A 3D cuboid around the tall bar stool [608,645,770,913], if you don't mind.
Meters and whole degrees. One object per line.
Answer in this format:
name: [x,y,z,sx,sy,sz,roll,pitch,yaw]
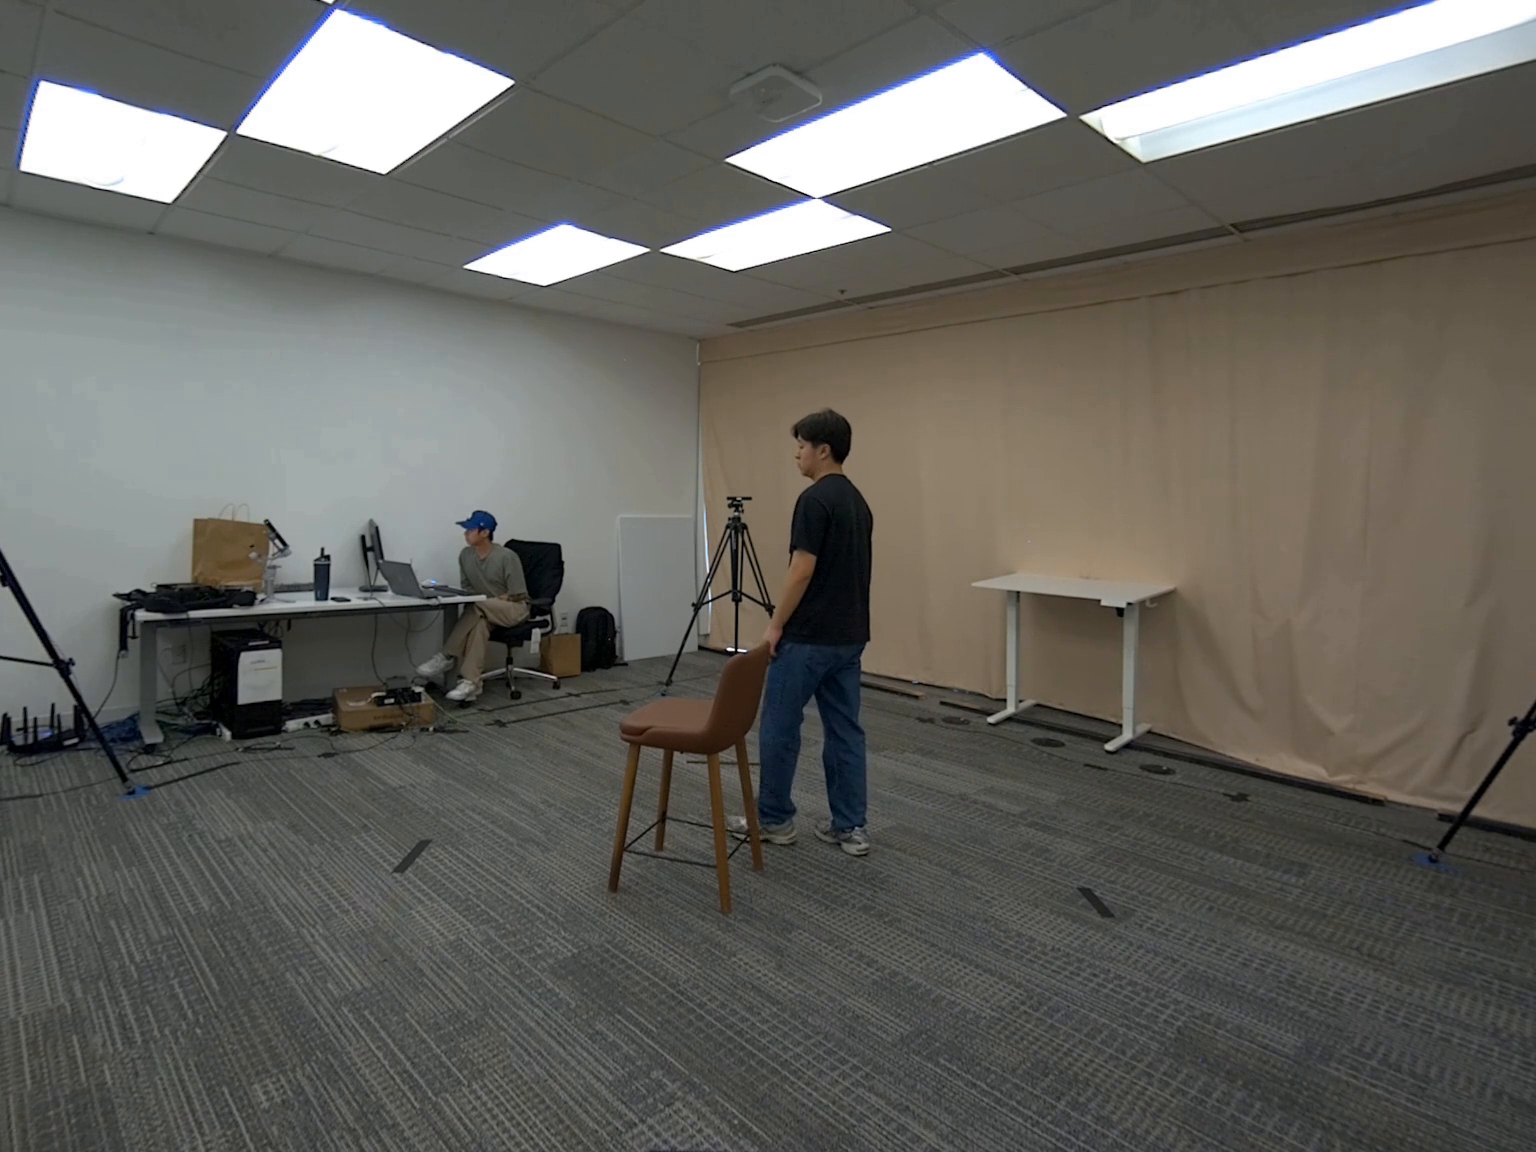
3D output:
tall bar stool: [-0.275,0.677,3.039,0.476,0.887,0.450,4,5,21]
